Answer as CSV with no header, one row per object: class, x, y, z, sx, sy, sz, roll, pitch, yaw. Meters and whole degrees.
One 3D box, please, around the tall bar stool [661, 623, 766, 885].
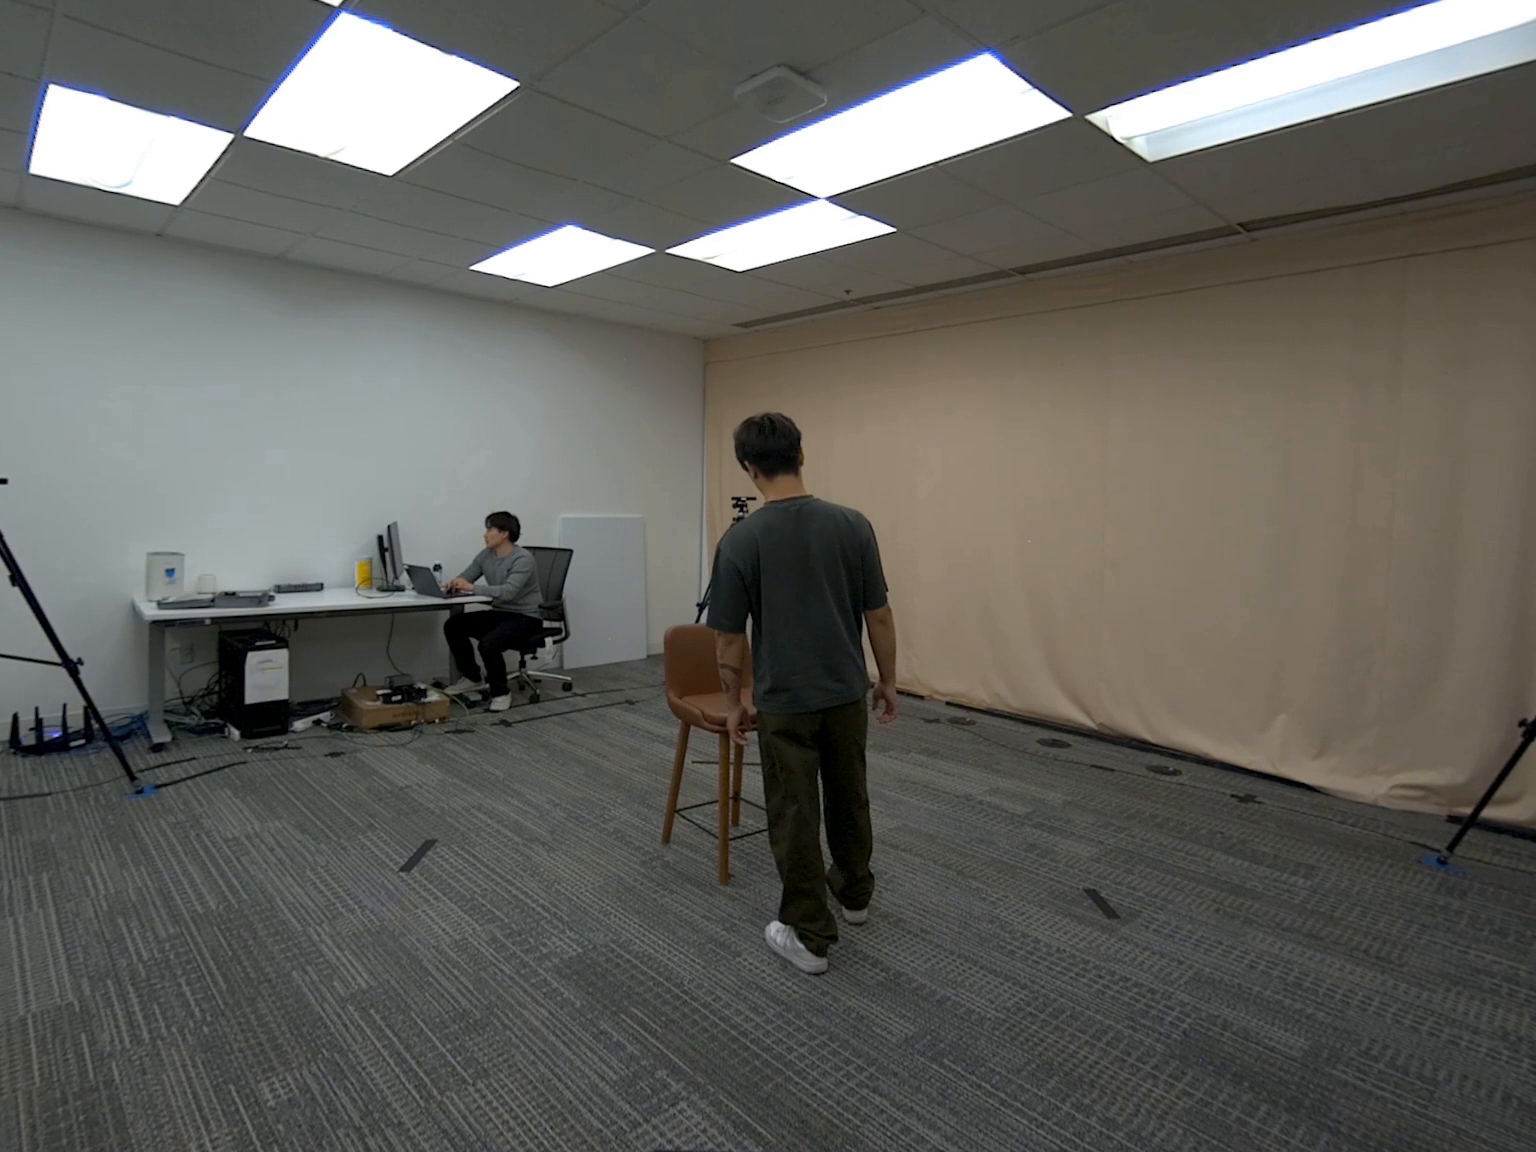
tall bar stool,-0.146,0.651,3.297,0.446,0.889,0.478,-1,2,-38
